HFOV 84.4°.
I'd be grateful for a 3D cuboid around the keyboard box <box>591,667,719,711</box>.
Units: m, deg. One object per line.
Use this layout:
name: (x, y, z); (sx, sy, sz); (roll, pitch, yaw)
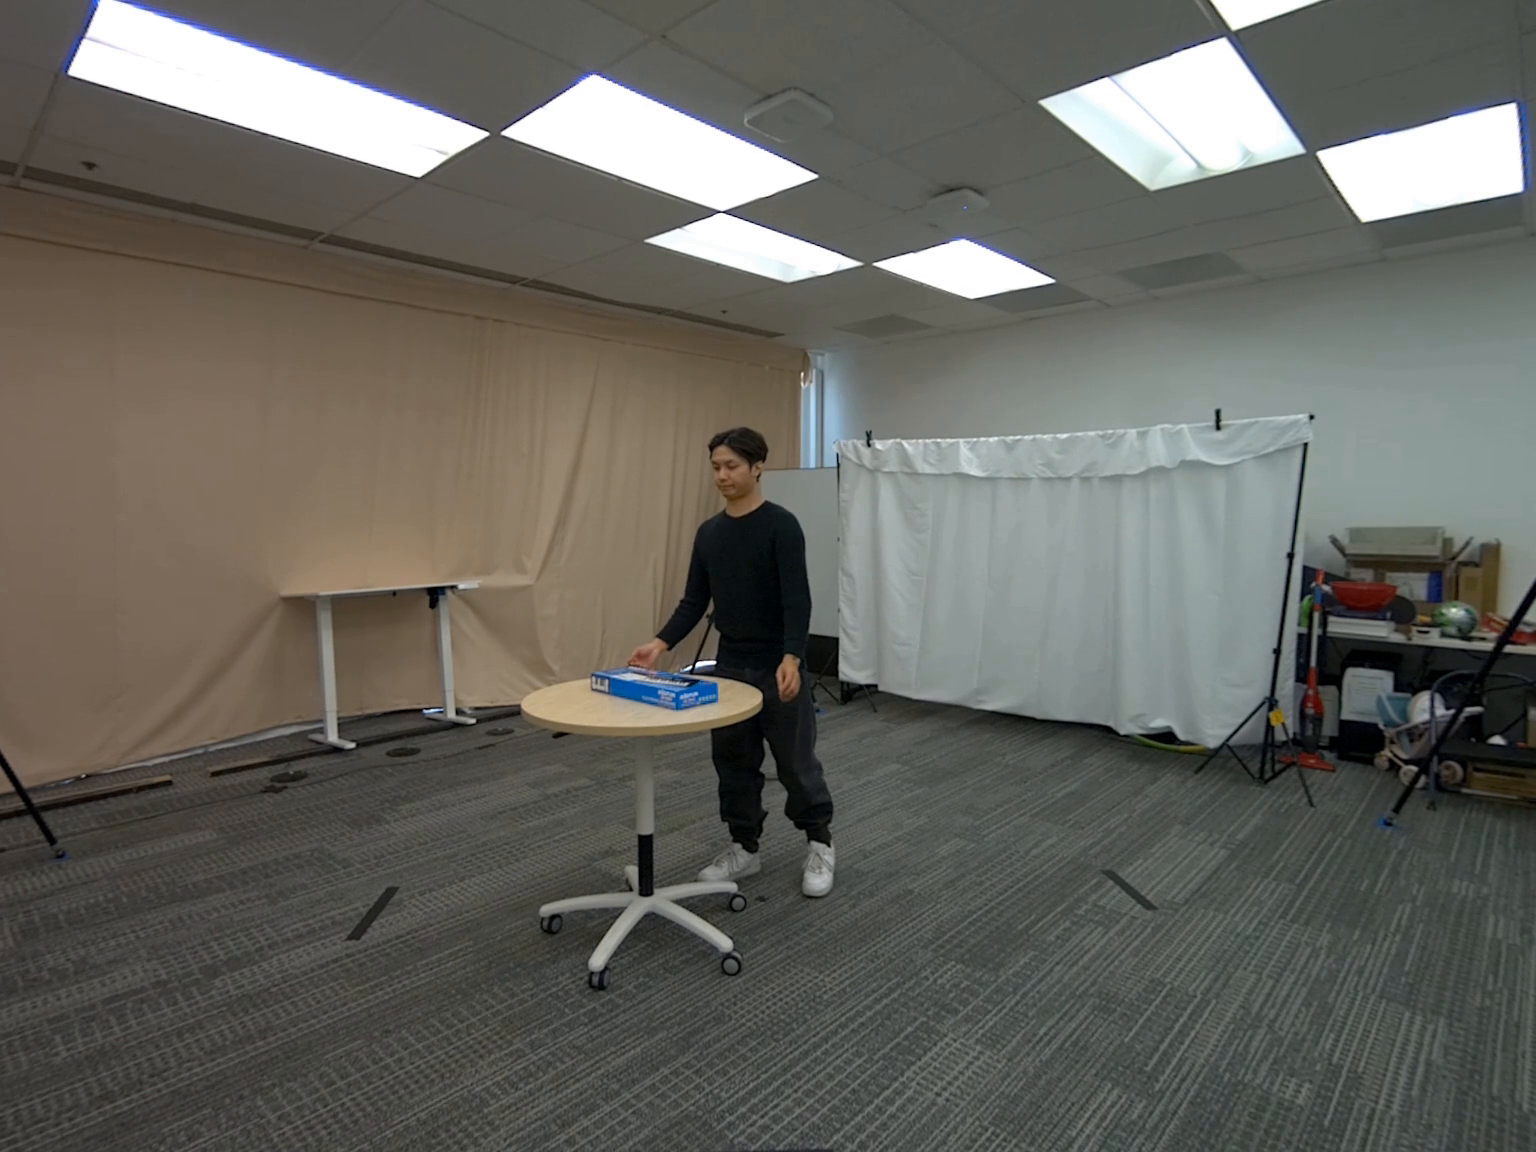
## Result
keyboard box: (-0.371, 0.357, 2.707); (0.451, 0.059, 0.170); (3, 6, 43)
